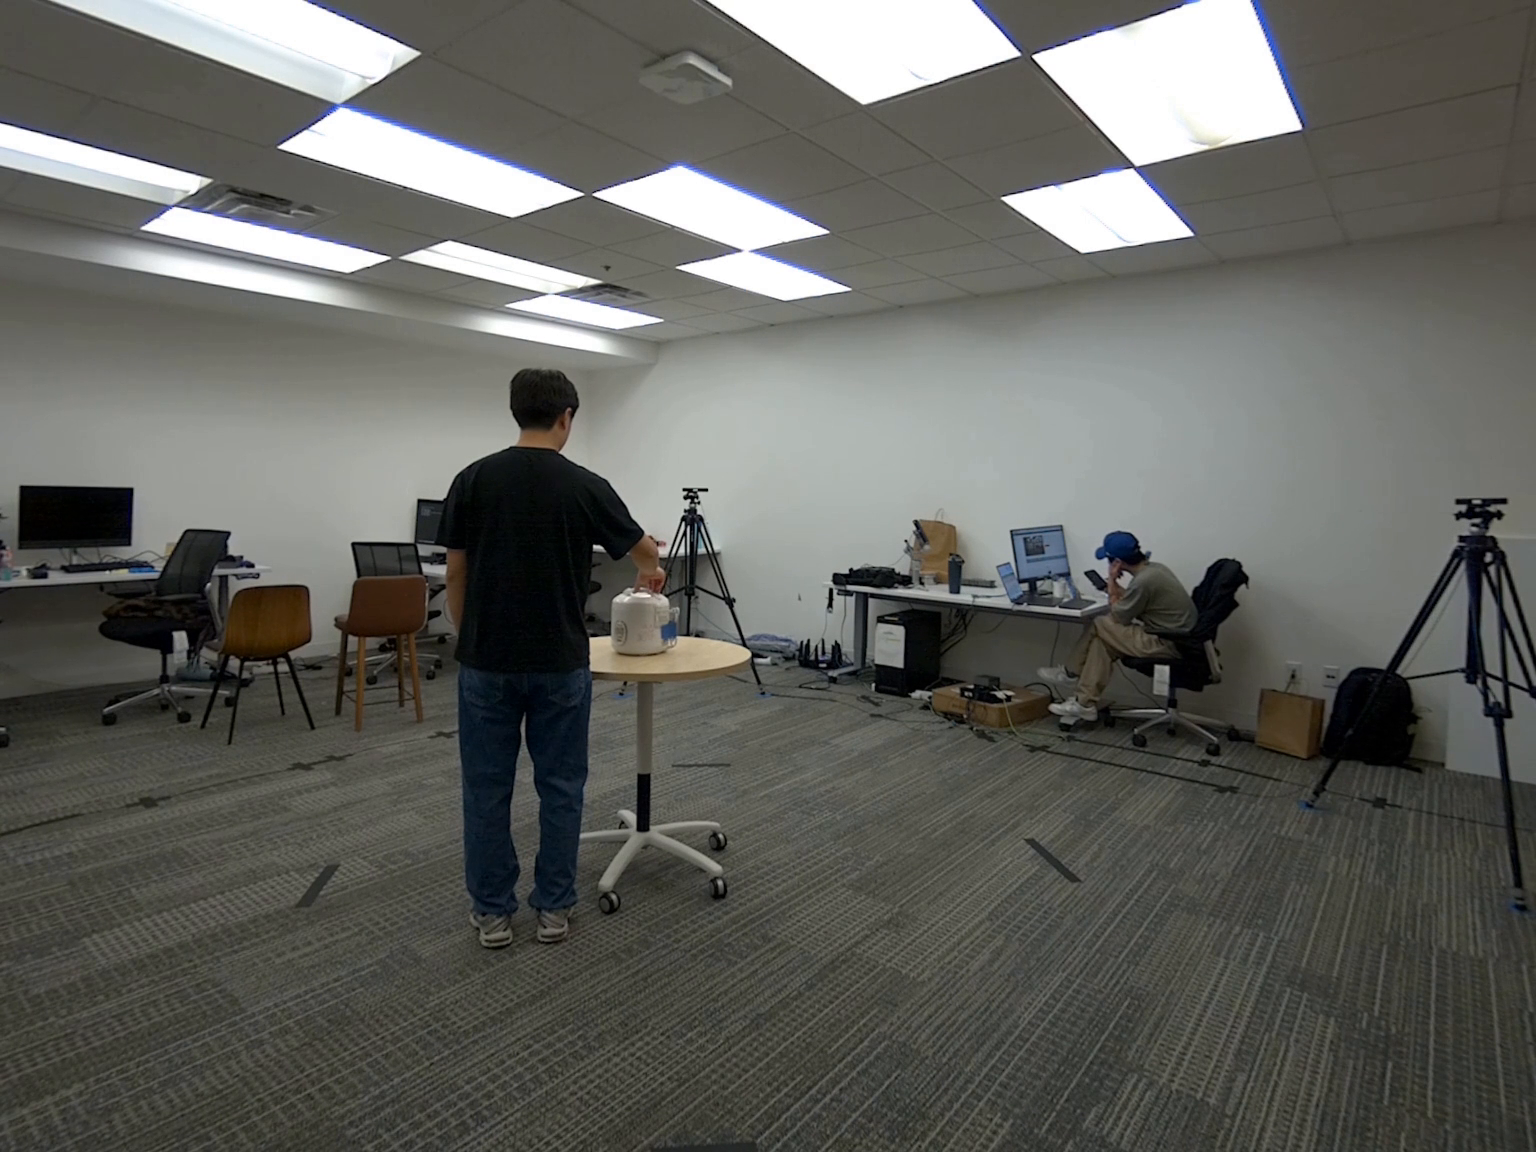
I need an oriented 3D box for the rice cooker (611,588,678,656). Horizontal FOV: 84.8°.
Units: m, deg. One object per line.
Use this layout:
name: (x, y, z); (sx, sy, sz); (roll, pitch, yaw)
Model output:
rice cooker: (-0.468, 0.156, 3.078); (0.227, 0.232, 0.211); (2, 3, 34)
